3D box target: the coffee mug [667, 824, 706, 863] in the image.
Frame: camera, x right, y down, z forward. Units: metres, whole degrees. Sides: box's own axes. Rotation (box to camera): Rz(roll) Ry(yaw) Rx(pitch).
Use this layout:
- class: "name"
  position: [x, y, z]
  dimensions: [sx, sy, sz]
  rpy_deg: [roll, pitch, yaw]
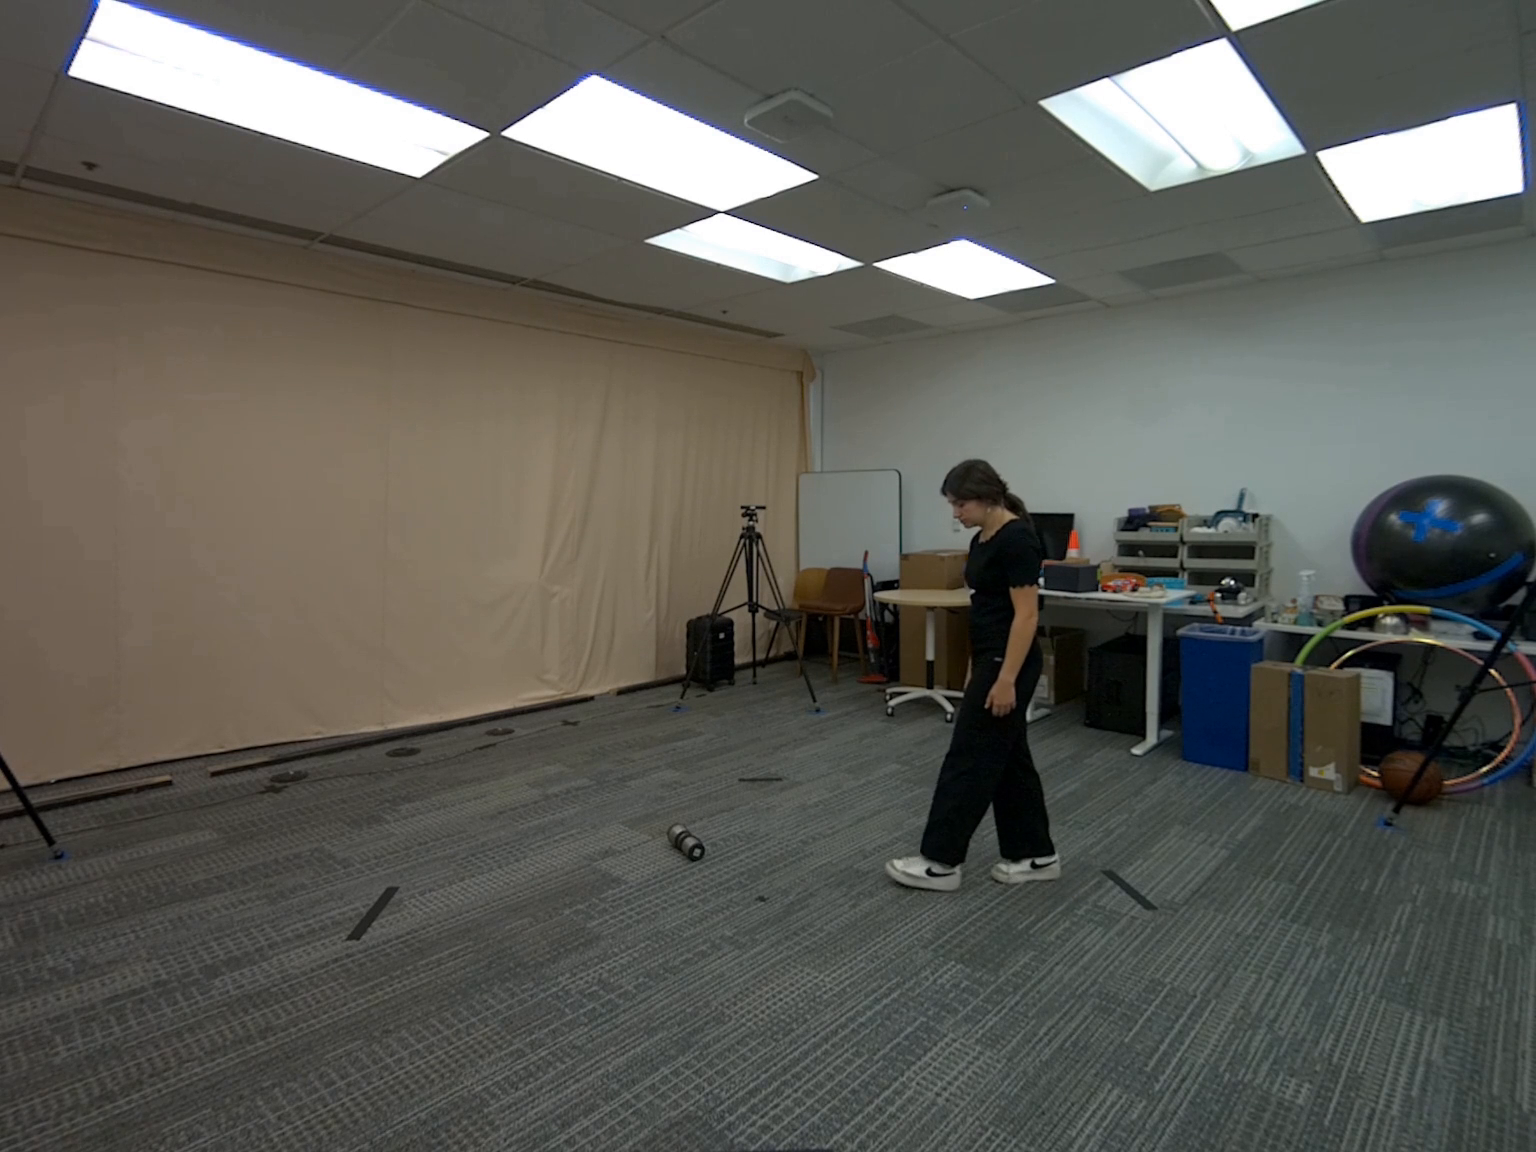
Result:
- class: "coffee mug"
  position: [-0.310, 1.064, 3.393]
  dimensions: [0.119, 0.087, 0.209]
  rpy_deg: [-17, 14, -31]
